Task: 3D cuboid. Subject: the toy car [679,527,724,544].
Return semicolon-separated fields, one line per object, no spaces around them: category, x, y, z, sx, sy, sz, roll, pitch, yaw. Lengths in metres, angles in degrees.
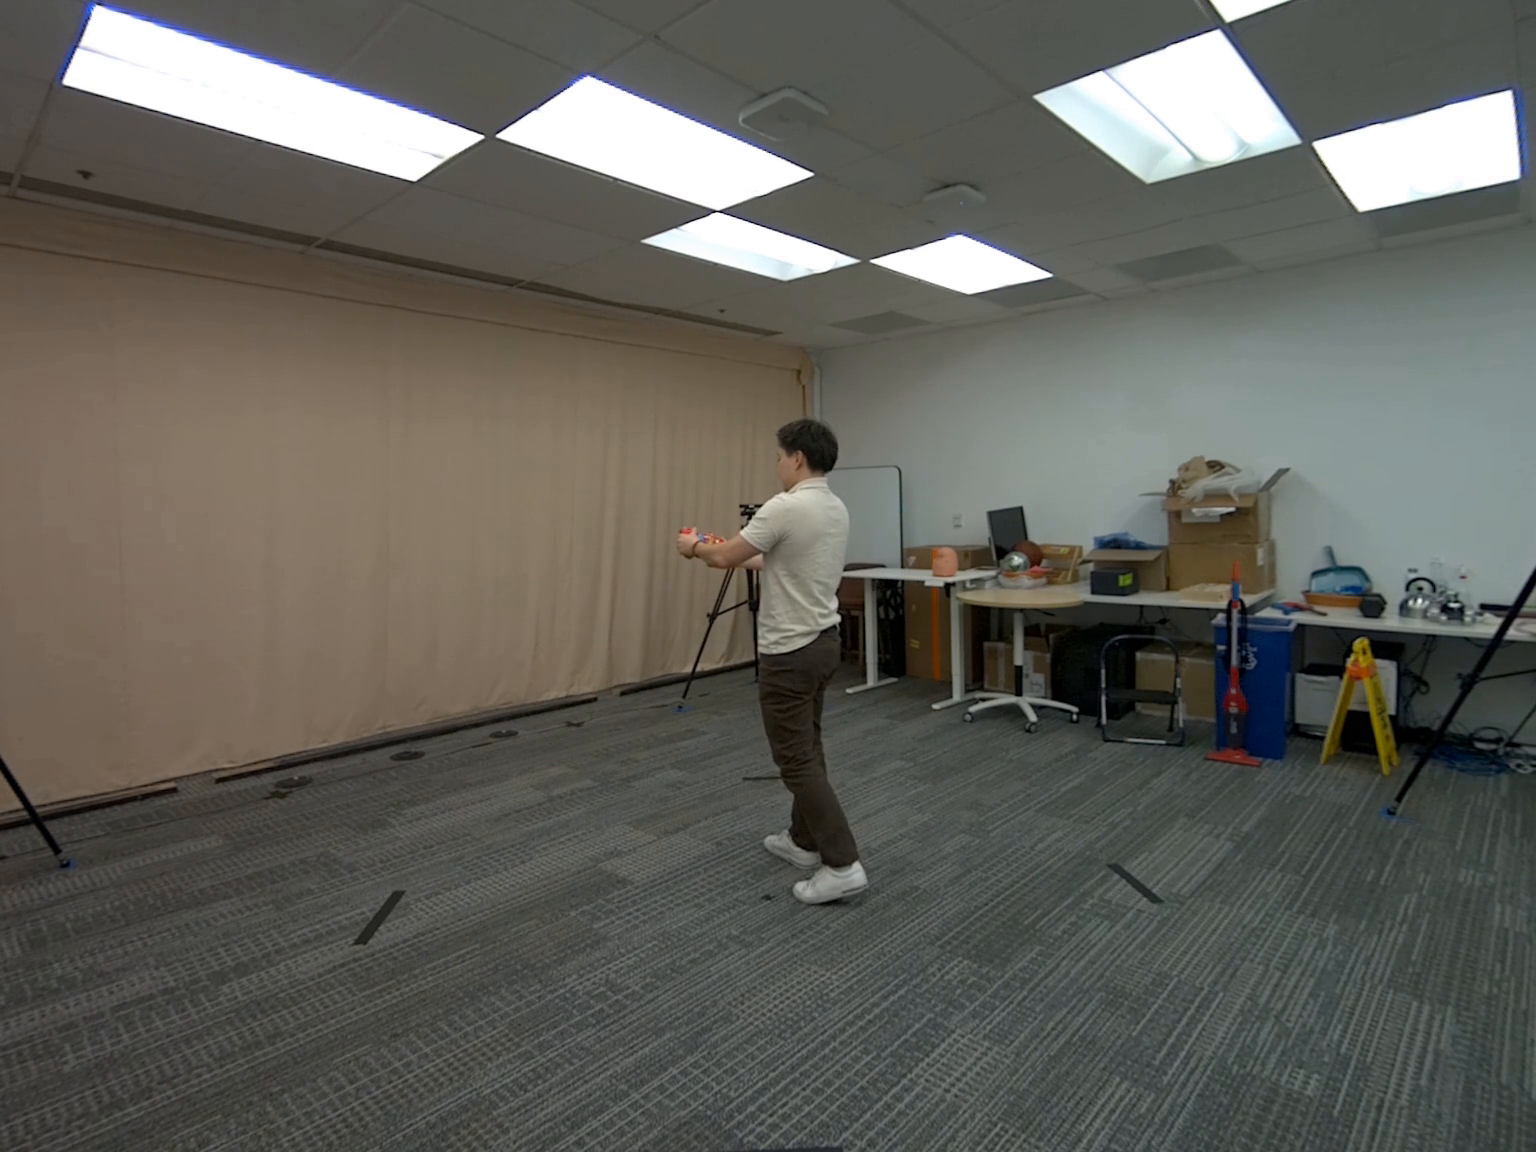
toy car;-0.251;-0.116;3.363;0.246;0.132;0.085;8;-28;-45
